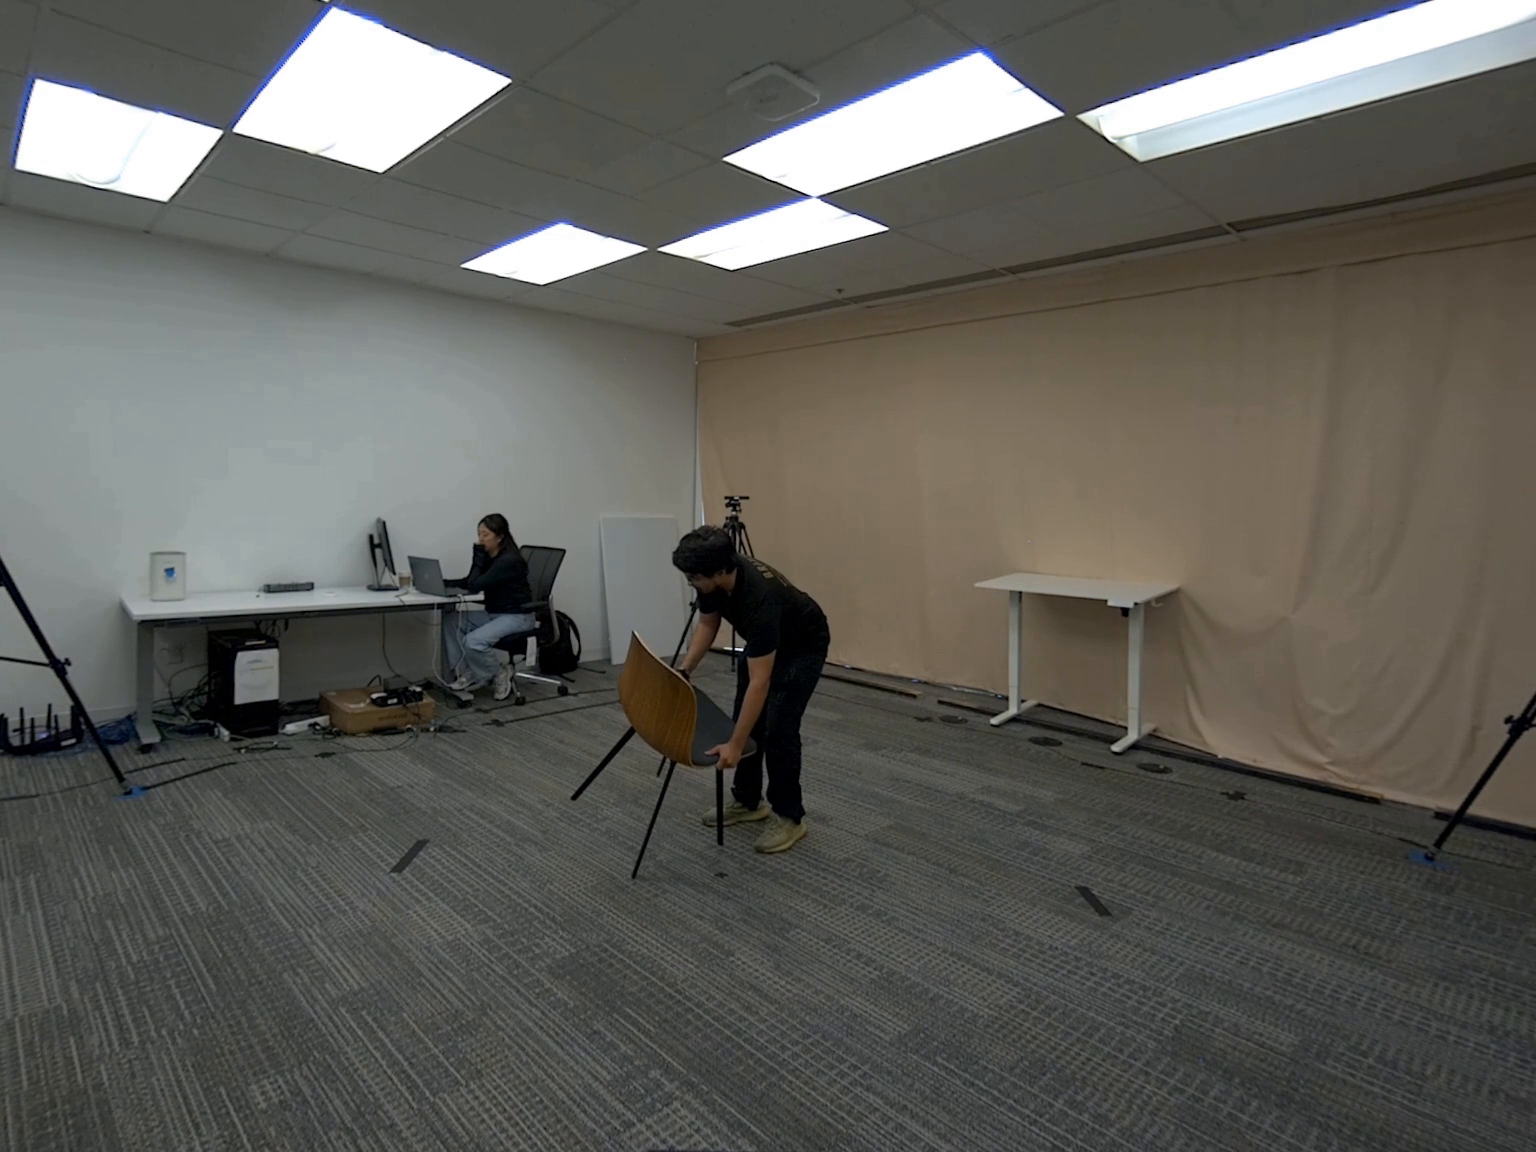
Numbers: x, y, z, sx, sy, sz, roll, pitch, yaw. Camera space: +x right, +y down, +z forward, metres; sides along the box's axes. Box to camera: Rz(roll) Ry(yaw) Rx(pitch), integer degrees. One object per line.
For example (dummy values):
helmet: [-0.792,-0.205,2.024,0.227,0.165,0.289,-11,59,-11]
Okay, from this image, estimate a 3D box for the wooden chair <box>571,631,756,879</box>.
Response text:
wooden chair: [-0.349,0.610,3.207,0.512,0.868,0.493,-7,32,-43]
